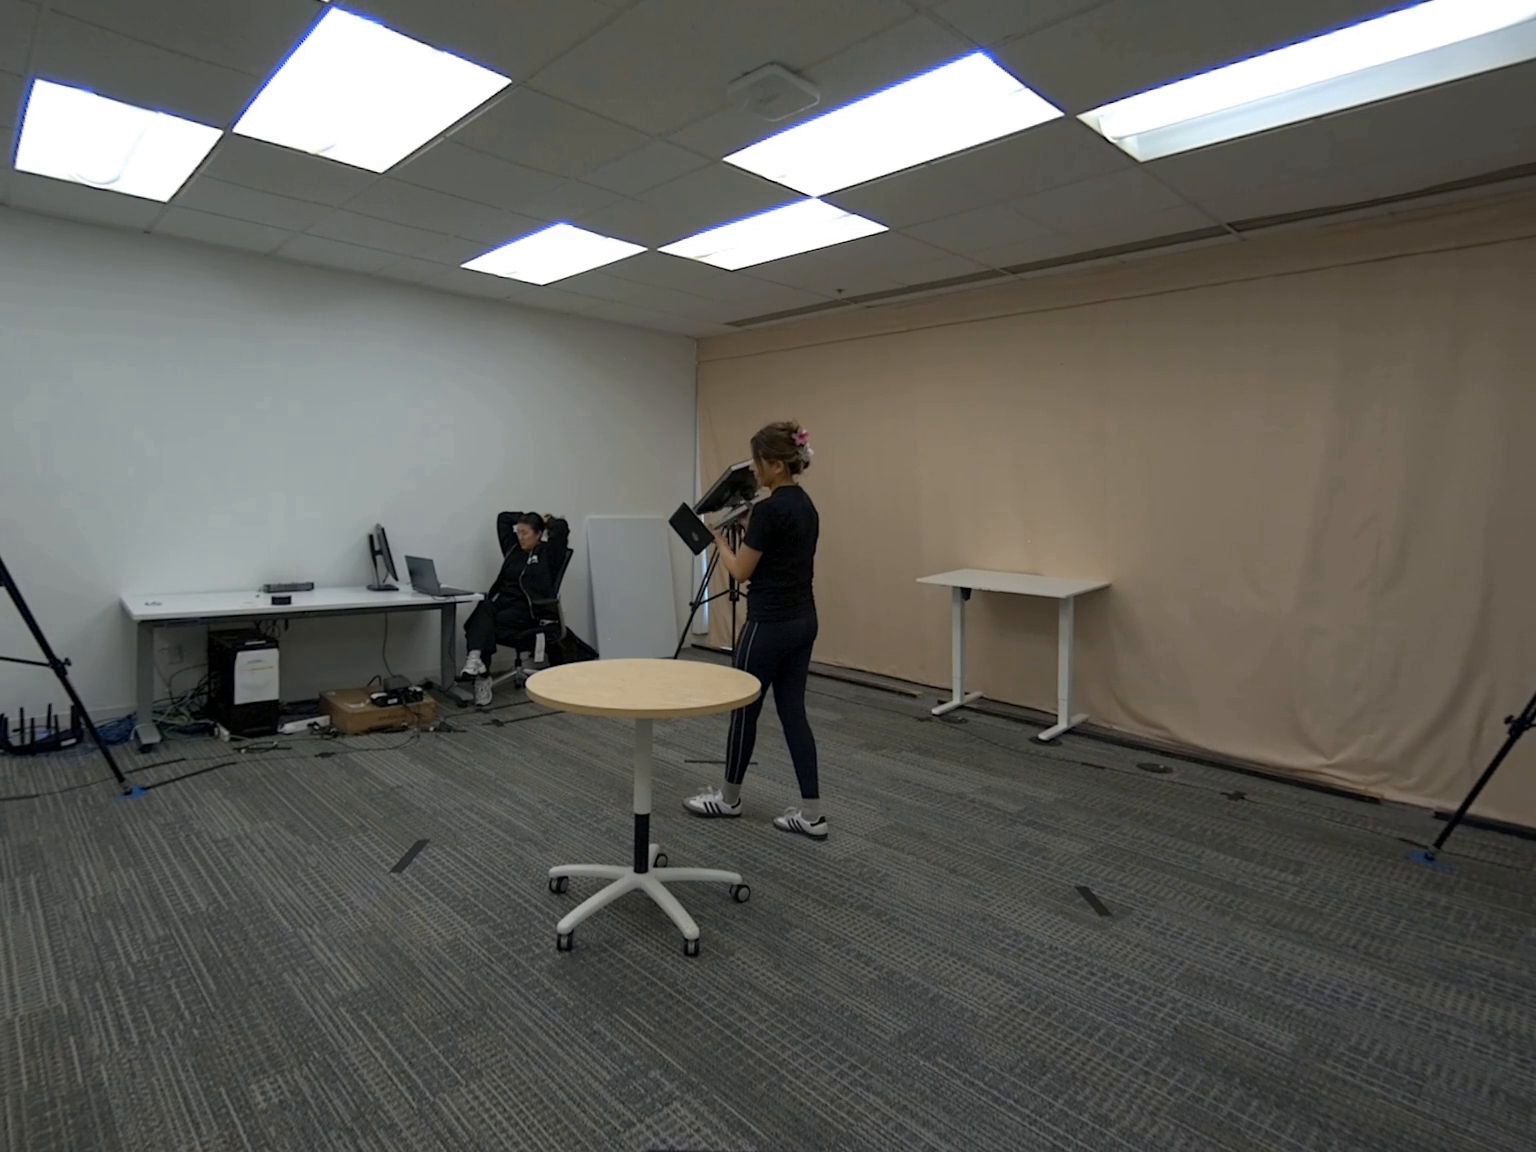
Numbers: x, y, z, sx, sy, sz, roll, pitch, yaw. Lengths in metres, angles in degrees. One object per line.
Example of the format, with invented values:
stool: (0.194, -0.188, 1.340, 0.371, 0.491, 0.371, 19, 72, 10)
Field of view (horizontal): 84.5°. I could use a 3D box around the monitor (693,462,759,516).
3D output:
monitor: (-0.174, -0.355, 3.786, 0.520, 0.187, 0.541, -40, 2, -28)
